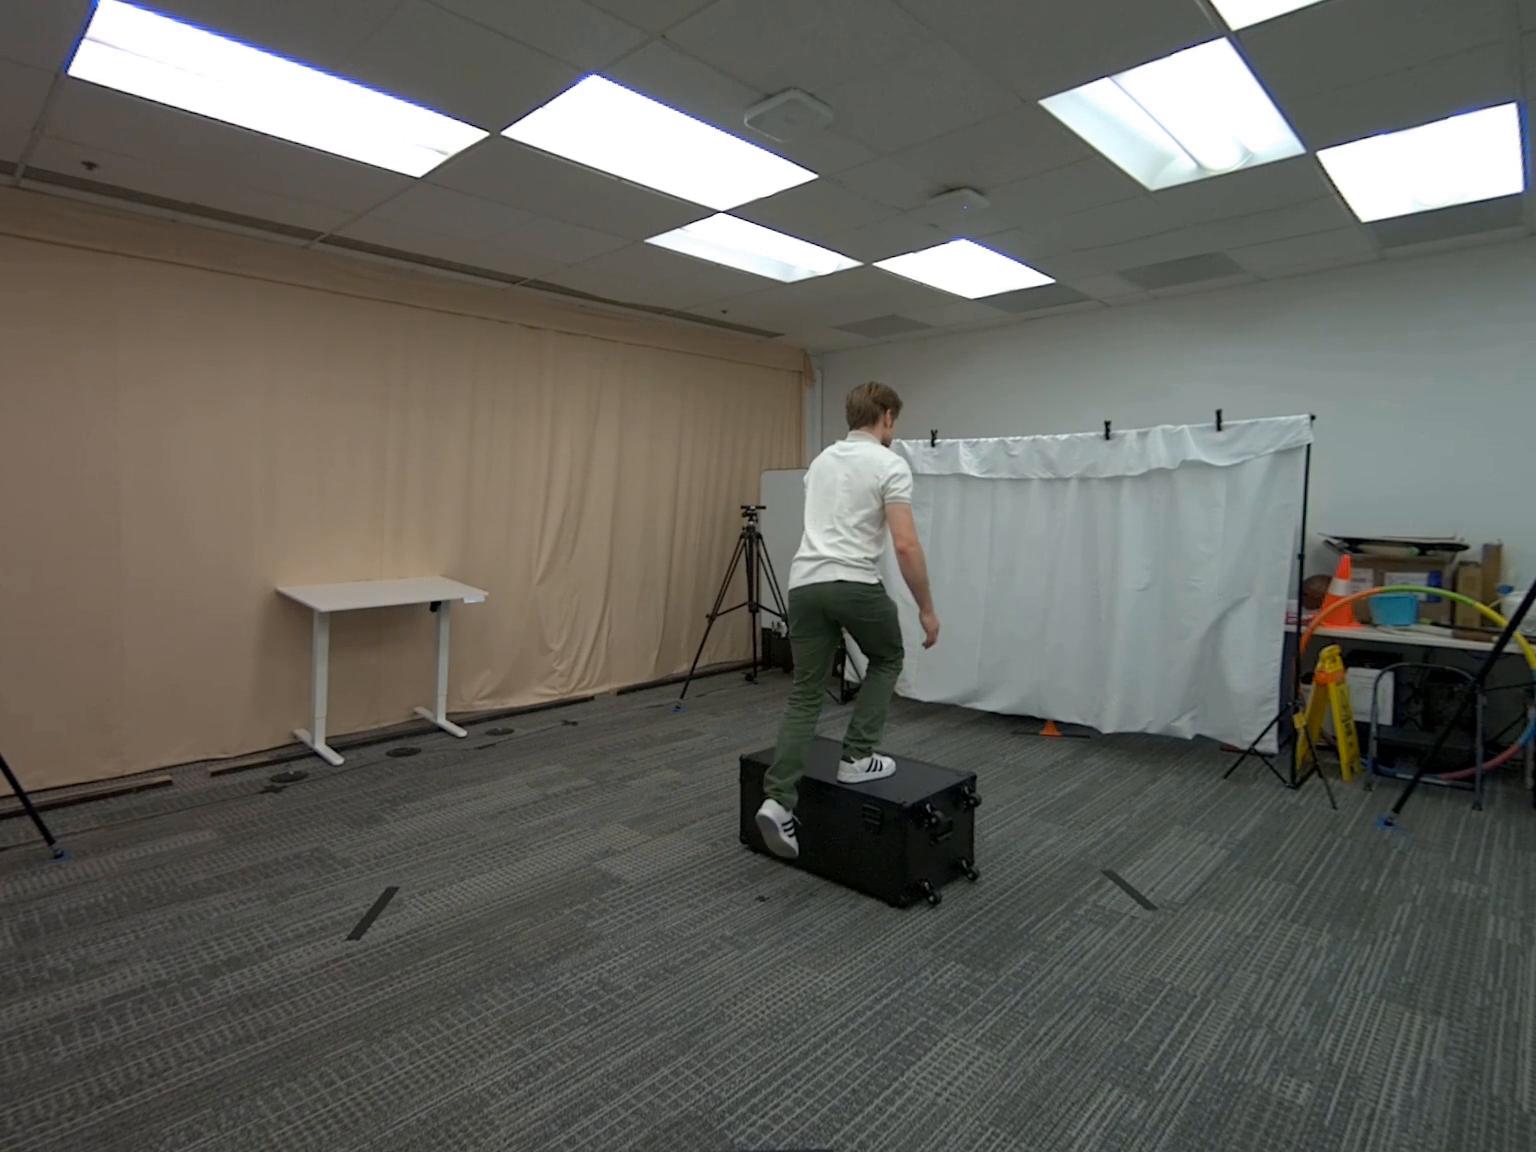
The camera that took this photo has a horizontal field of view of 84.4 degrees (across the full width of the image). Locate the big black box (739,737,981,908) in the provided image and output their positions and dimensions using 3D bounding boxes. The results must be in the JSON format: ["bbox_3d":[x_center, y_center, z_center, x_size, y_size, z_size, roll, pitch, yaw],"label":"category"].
[{"bbox_3d":[0.362,0.925,3.275,0.898,0.384,0.507,5,5,43],"label":"big black box"}]
